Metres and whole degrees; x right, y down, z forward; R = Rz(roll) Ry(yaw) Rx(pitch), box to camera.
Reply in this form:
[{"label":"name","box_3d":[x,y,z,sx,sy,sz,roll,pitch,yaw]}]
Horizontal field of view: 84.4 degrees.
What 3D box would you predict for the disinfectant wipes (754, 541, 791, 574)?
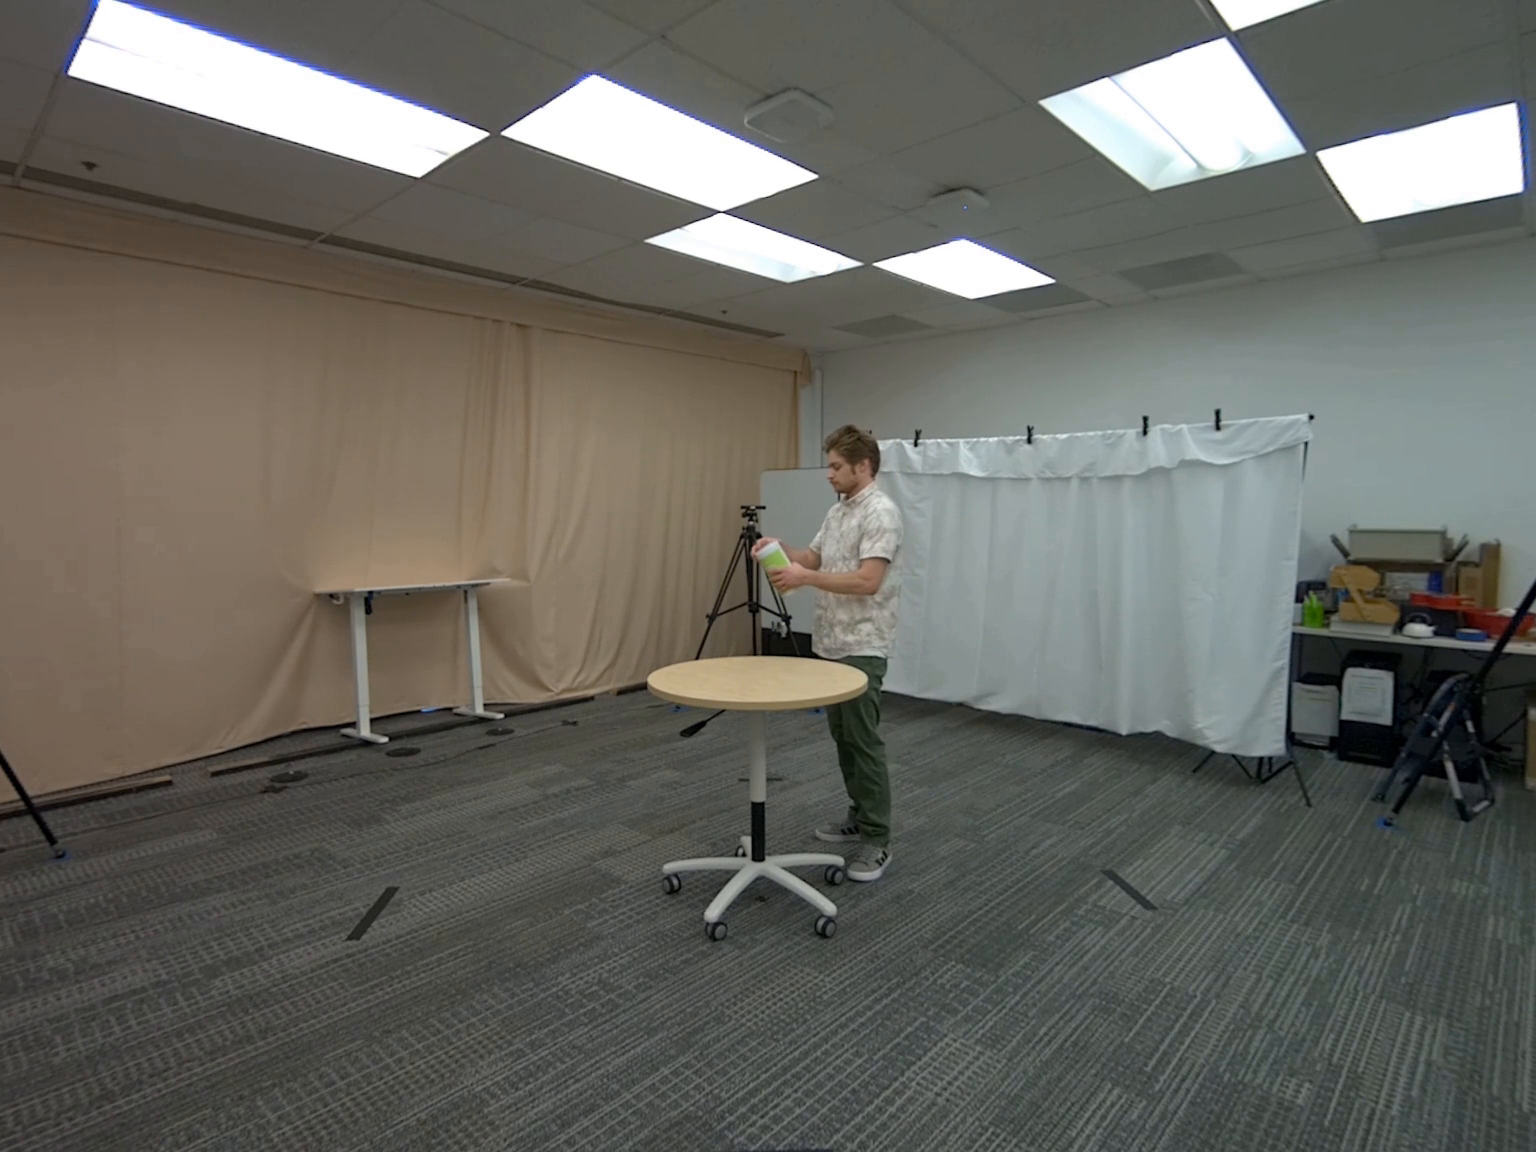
[{"label":"disinfectant wipes","box_3d":[0.056,-0.023,3.411,0.118,0.216,0.118,-31,7,3]}]
